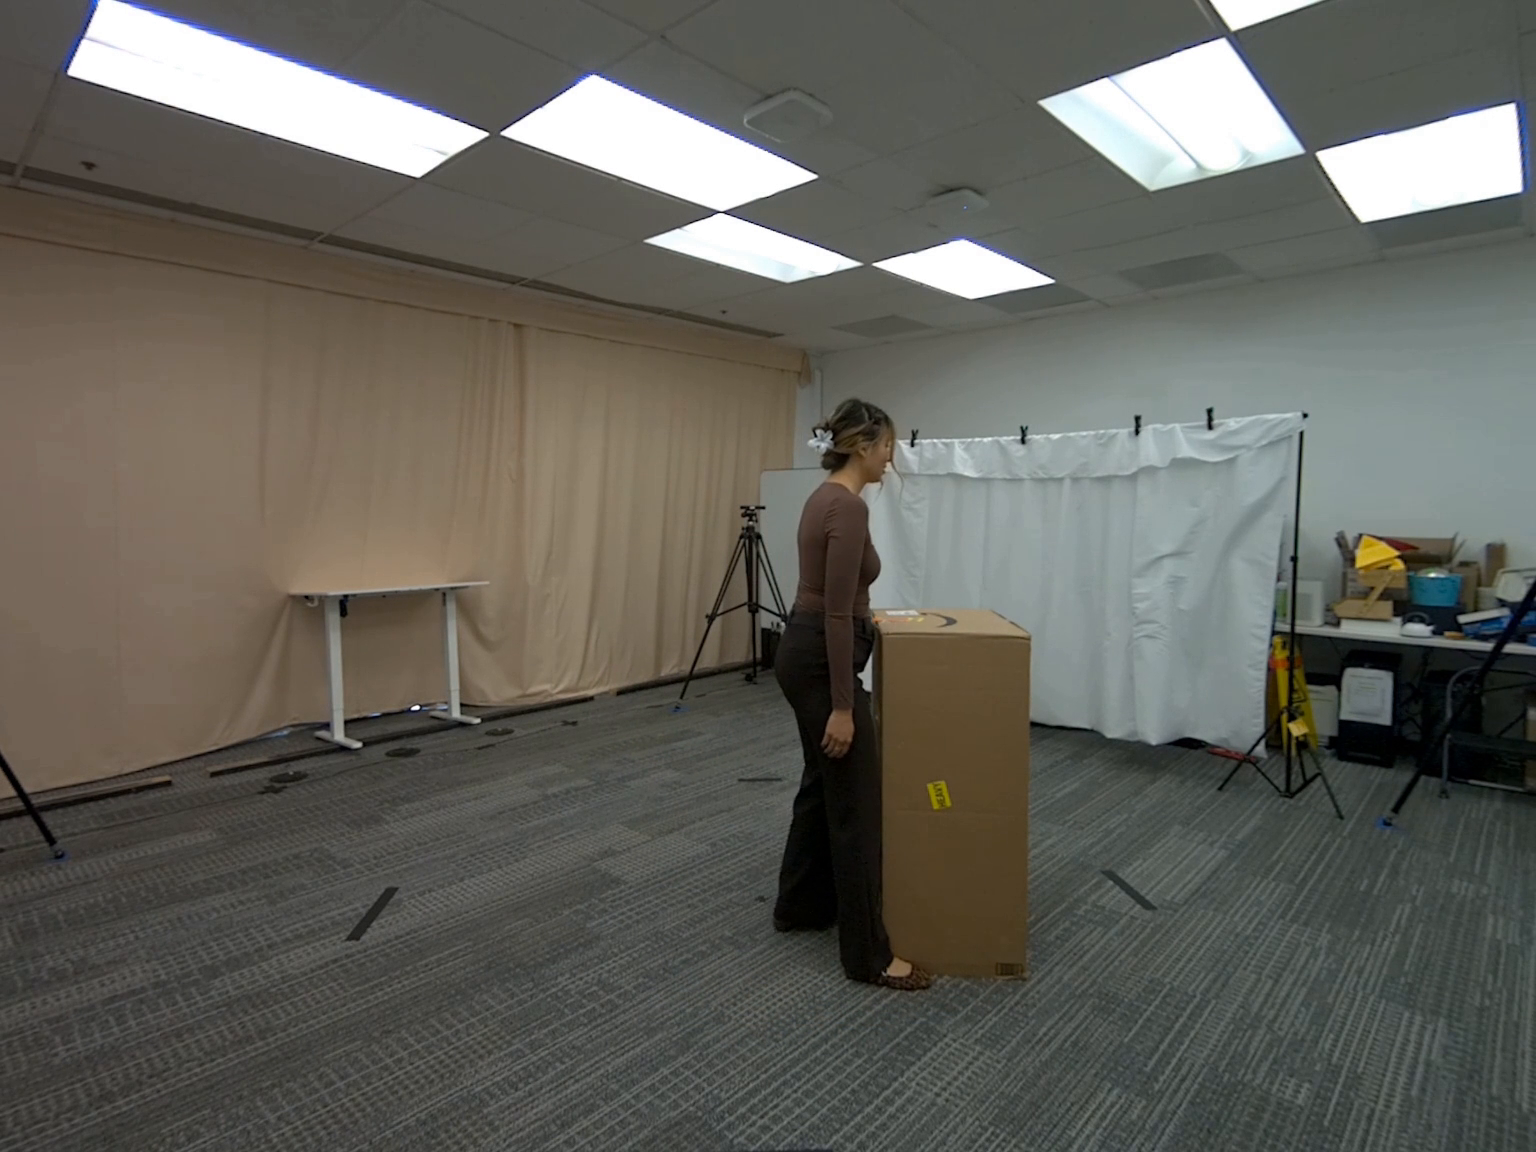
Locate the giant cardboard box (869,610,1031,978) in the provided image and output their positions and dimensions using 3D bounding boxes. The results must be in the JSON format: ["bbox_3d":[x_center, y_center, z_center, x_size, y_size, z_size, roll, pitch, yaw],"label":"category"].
[{"bbox_3d":[0.569,0.649,2.744,0.450,1.025,0.580,0,3,6],"label":"giant cardboard box"}]
